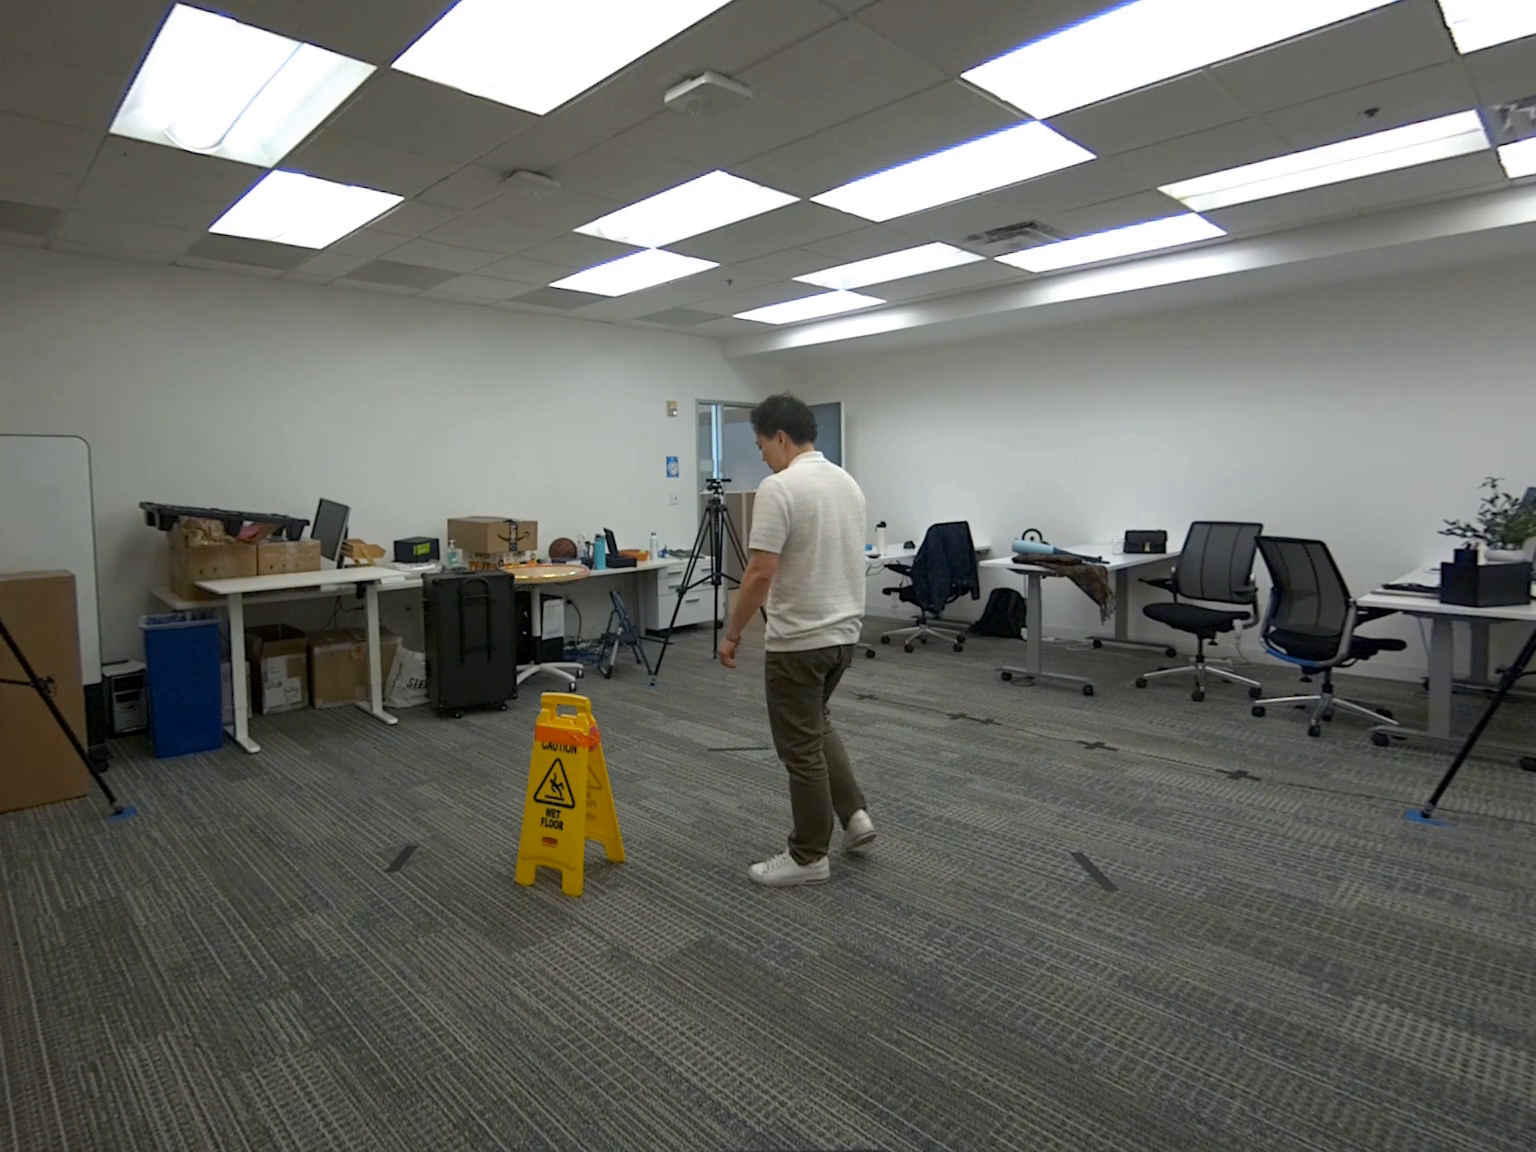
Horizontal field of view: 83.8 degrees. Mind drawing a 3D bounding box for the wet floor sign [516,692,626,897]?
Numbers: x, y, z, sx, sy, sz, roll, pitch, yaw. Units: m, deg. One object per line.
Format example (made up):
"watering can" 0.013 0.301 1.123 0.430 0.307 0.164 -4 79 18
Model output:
"wet floor sign" -0.712 0.741 3.042 0.288 0.644 0.284 0 4 24
